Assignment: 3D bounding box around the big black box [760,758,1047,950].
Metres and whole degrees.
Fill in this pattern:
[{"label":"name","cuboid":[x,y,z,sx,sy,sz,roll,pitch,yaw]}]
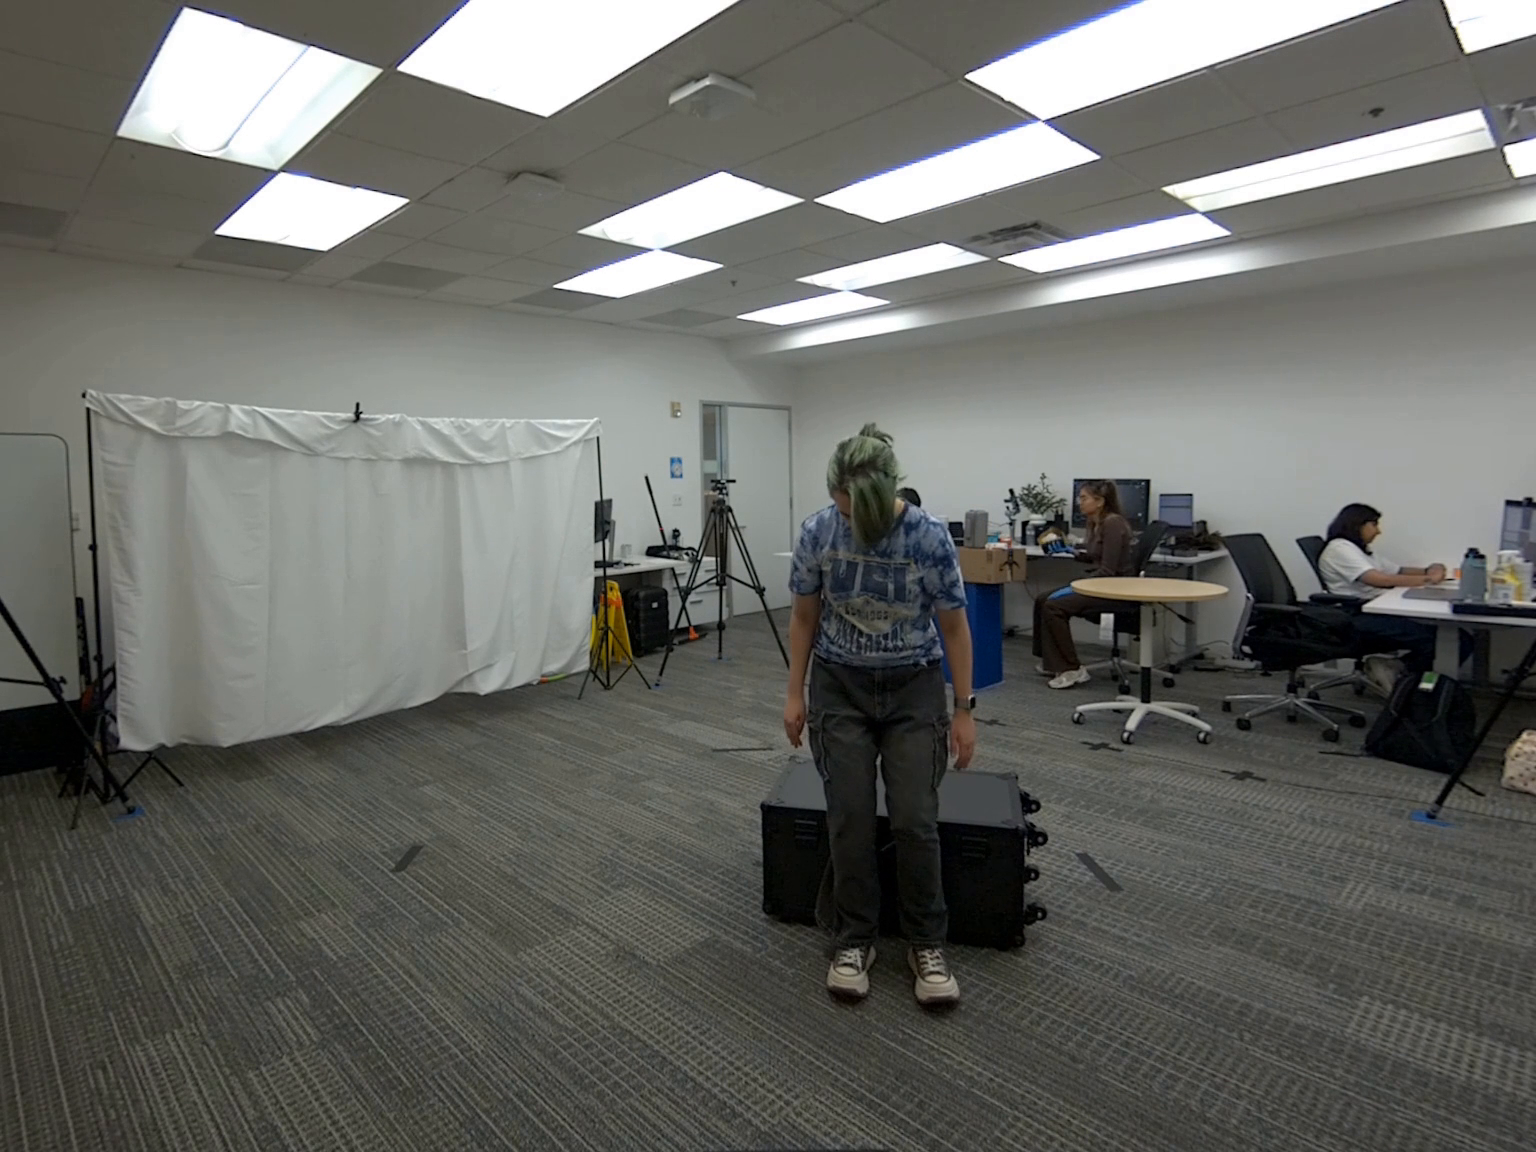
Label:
[{"label":"big black box","cuboid":[0.446,0.878,2.798,0.874,0.395,0.516,0,5,15]}]
